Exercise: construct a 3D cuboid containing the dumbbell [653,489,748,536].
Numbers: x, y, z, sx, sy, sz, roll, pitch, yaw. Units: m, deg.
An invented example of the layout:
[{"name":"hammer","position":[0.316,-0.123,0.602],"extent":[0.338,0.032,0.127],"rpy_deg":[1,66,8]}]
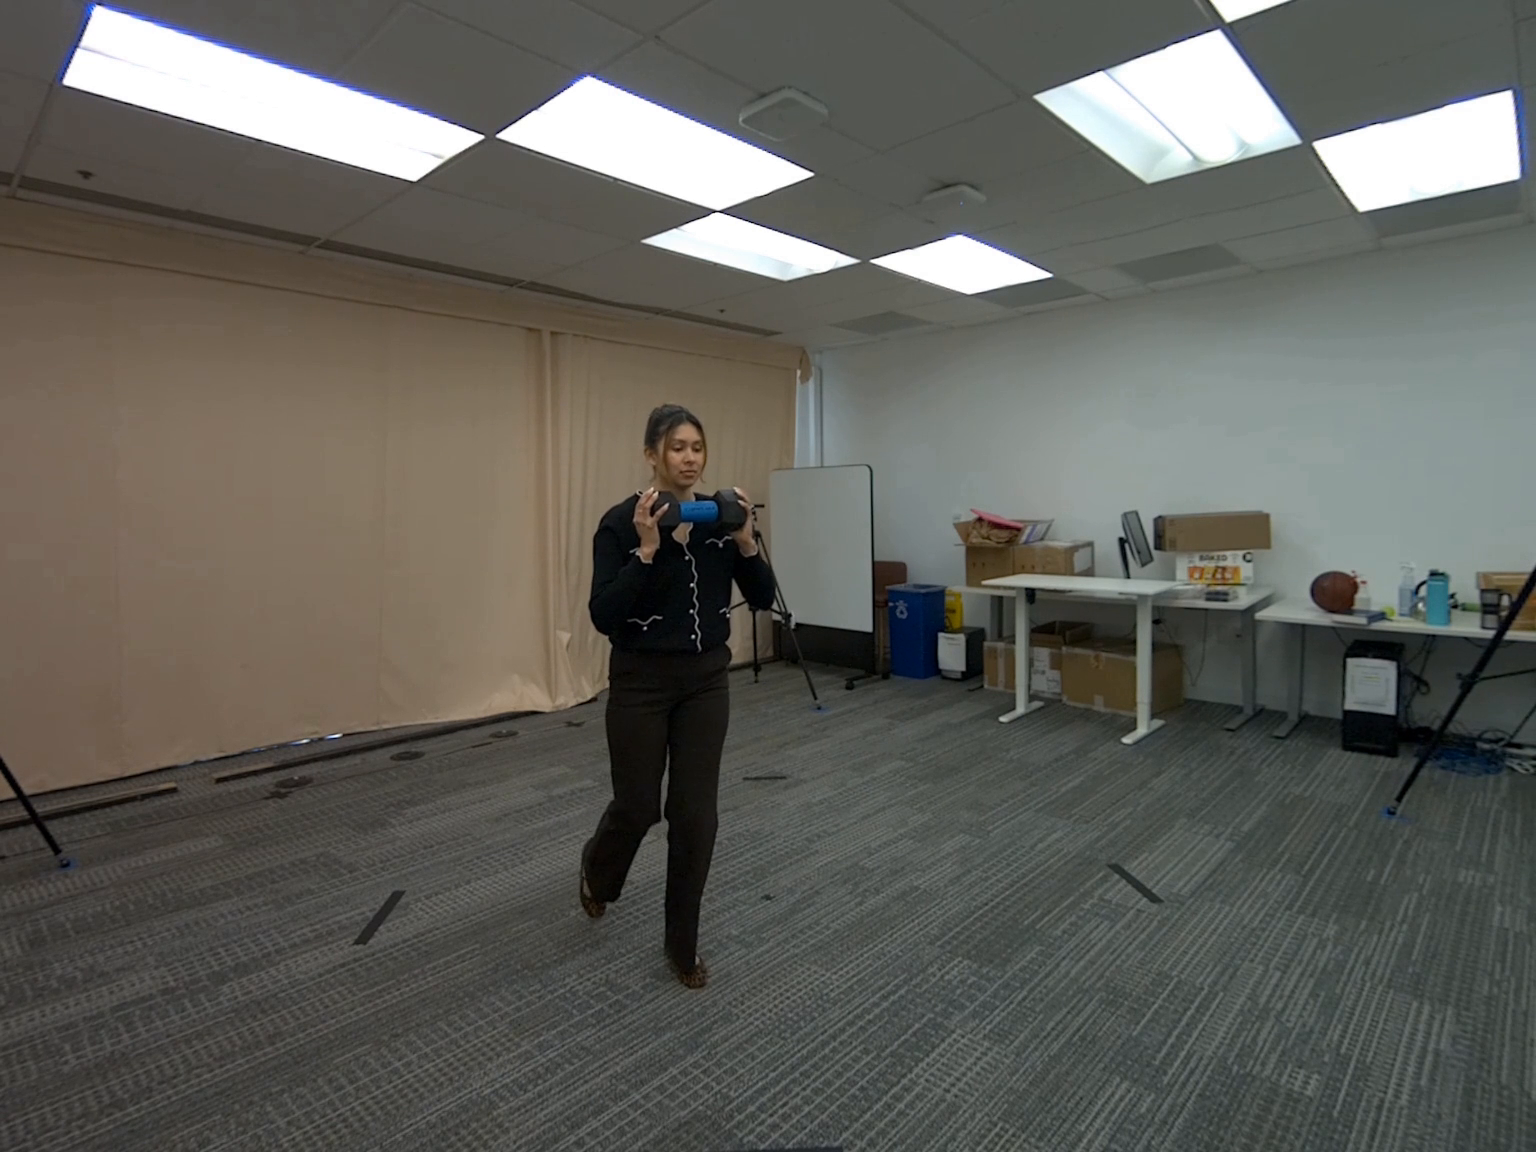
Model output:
[{"name":"dumbbell","position":[-0.206,-0.172,2.395],"extent":[0.286,0.110,0.124],"rpy_deg":[-3,-23,-27]}]
